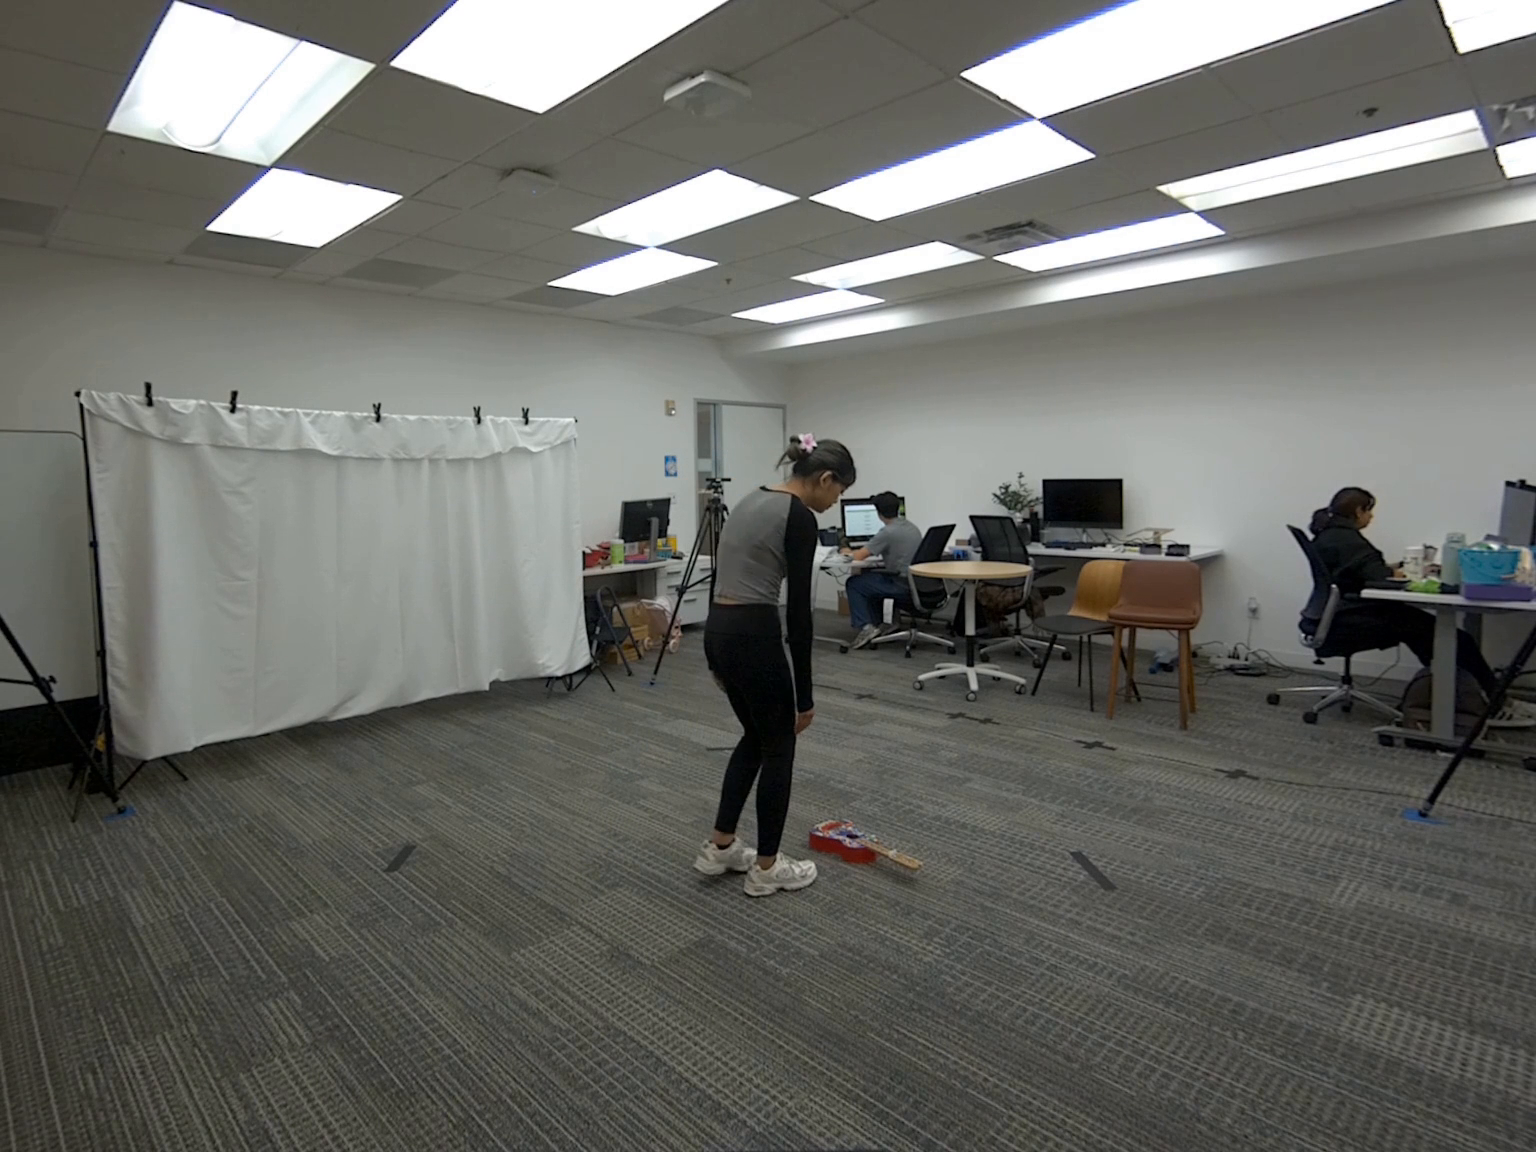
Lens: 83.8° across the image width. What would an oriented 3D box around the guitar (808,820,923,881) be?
[{"bbox_3d":[0.338,1.000,3.106,0.189,0.070,0.511,-4,6,-28],"label":"guitar"}]
